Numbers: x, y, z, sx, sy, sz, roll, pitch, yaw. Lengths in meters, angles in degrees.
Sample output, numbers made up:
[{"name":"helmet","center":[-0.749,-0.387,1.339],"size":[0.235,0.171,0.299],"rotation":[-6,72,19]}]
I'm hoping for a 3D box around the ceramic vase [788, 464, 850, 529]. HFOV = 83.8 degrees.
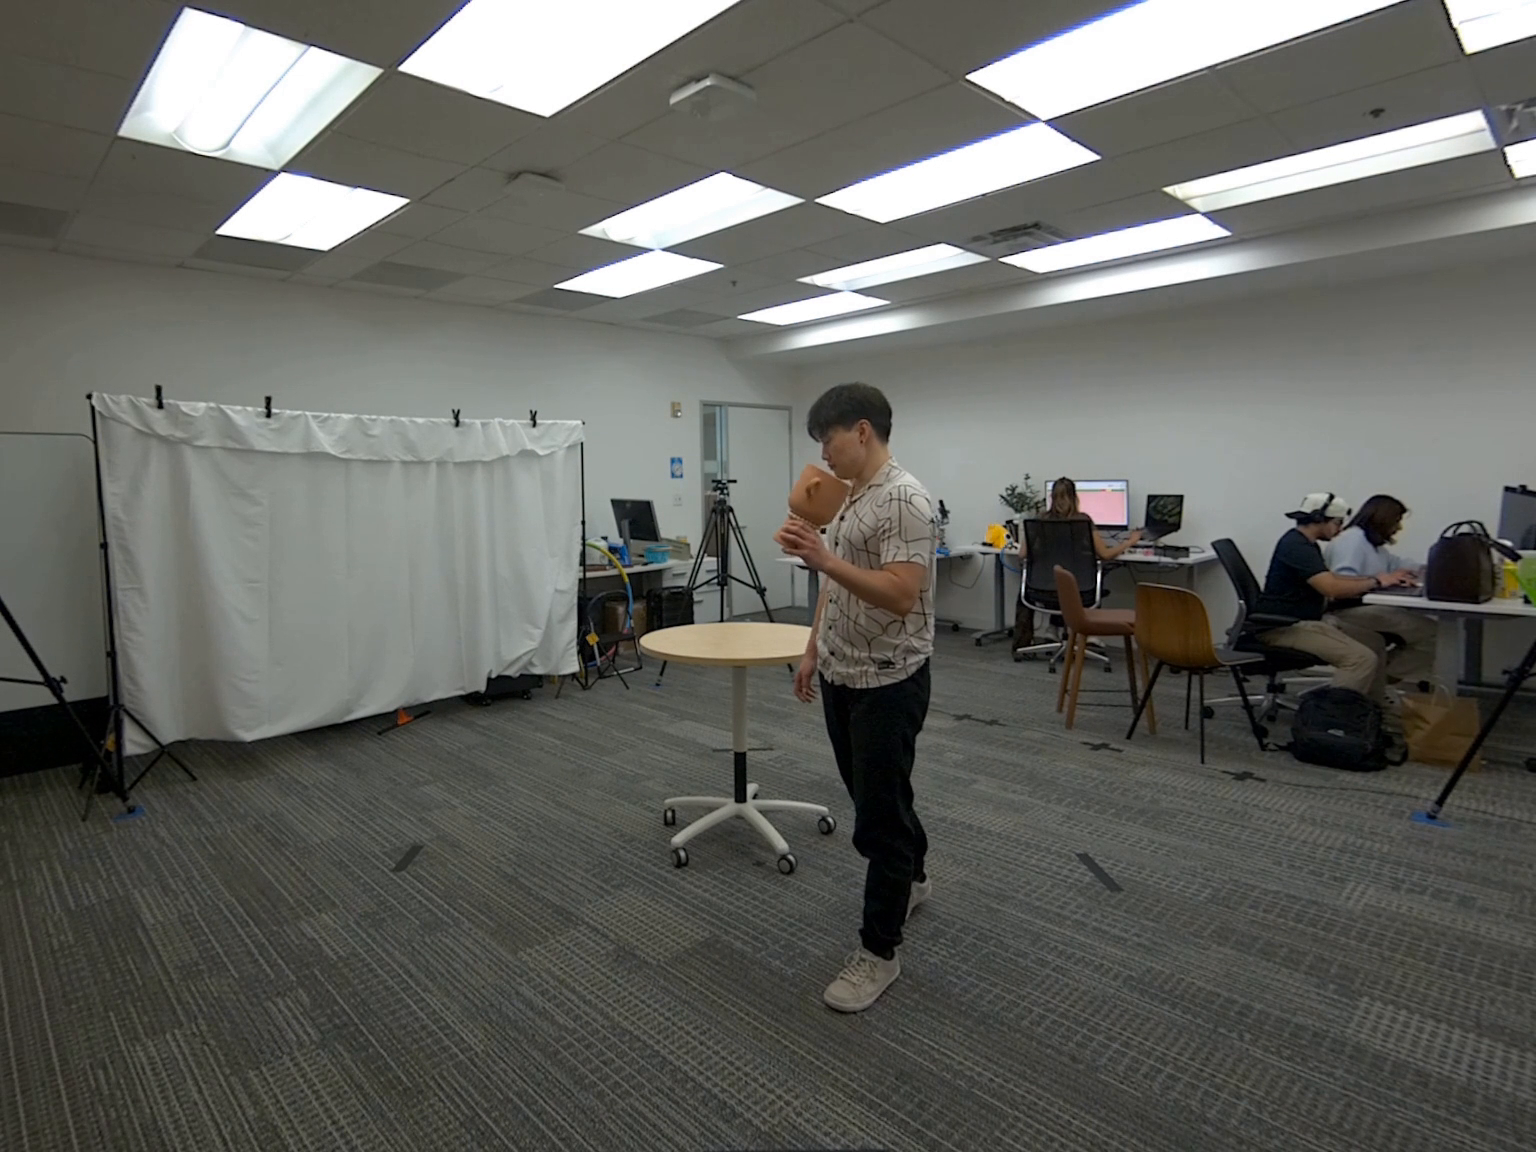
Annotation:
[{"name":"ceramic vase","center":[0.123,-0.169,2.223],"size":[0.154,0.219,0.139],"rotation":[24,12,-29]}]
